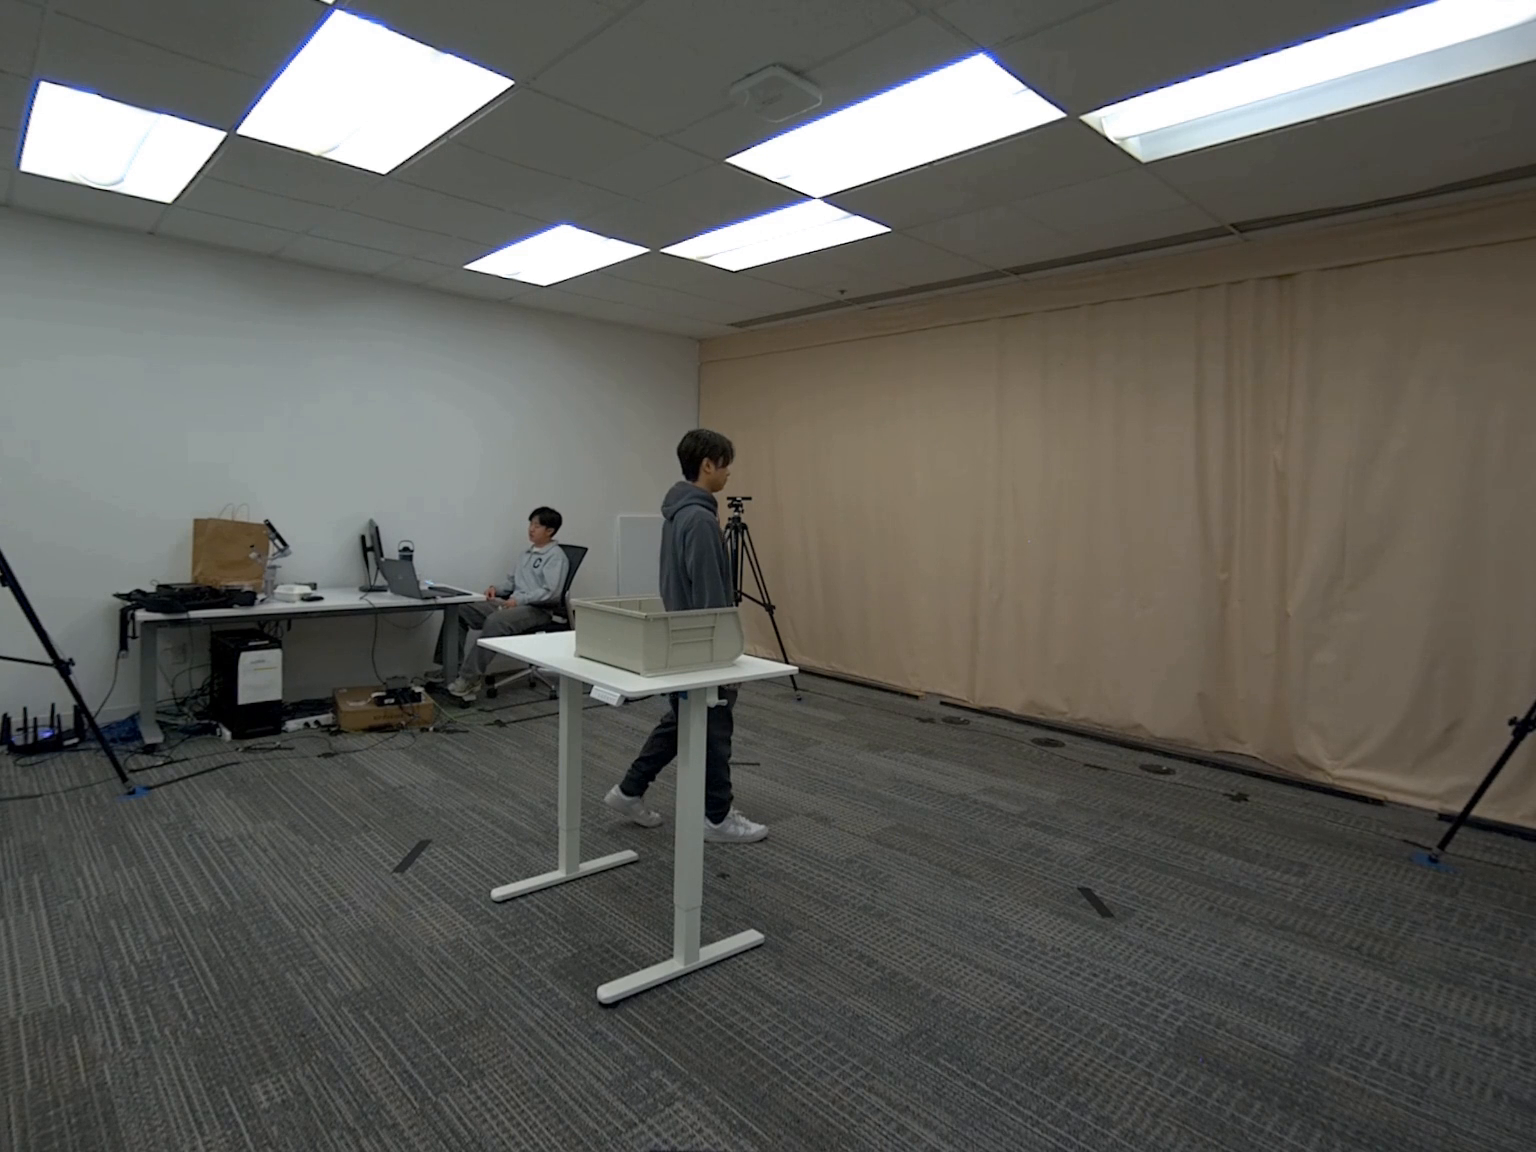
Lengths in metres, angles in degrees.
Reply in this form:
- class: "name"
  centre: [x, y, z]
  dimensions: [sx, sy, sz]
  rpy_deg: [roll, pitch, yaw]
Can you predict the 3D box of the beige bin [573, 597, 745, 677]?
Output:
- class: "beige bin"
  centre: [-0.349, 0.176, 2.593]
  dimensions: [0.369, 0.188, 0.433]
  rpy_deg: [-3, 6, -41]
